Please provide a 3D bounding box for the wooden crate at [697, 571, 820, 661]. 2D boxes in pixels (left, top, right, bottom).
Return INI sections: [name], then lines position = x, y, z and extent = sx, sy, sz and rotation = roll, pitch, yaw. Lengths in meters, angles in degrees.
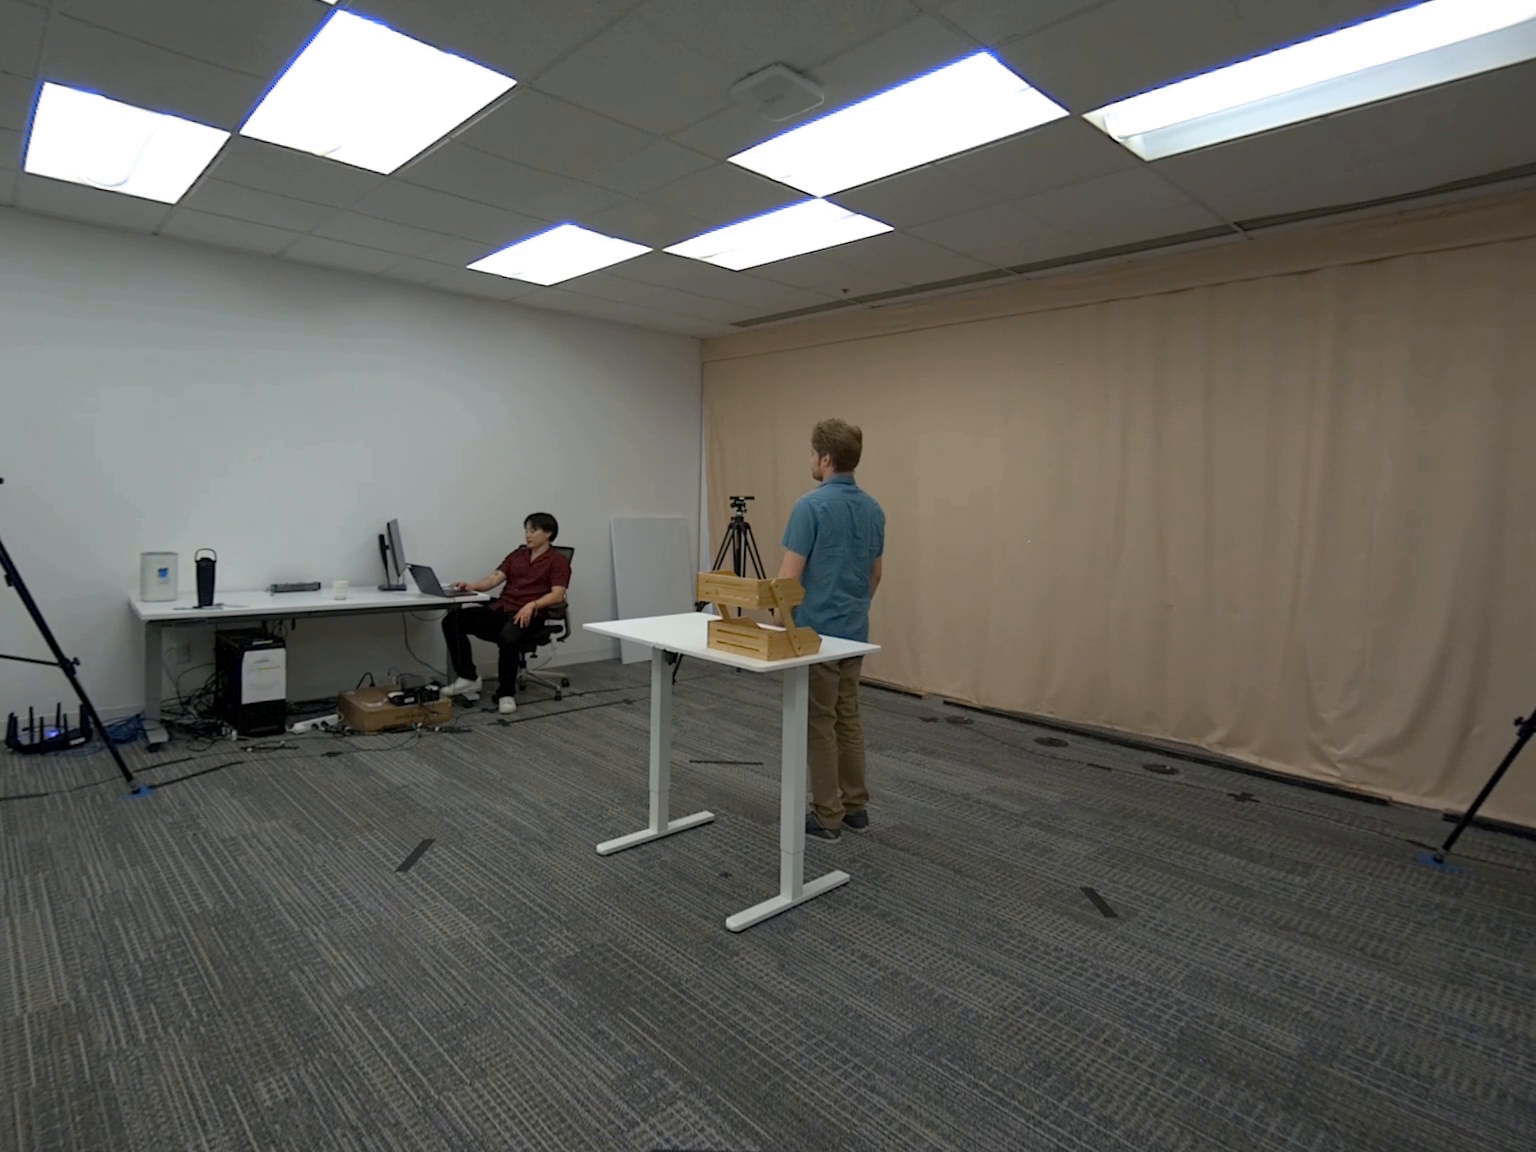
[wooden crate]
position = -0.036, 0.120, 2.810
extent = 0.295, 0.272, 0.333
rotation = -4, 7, -44
